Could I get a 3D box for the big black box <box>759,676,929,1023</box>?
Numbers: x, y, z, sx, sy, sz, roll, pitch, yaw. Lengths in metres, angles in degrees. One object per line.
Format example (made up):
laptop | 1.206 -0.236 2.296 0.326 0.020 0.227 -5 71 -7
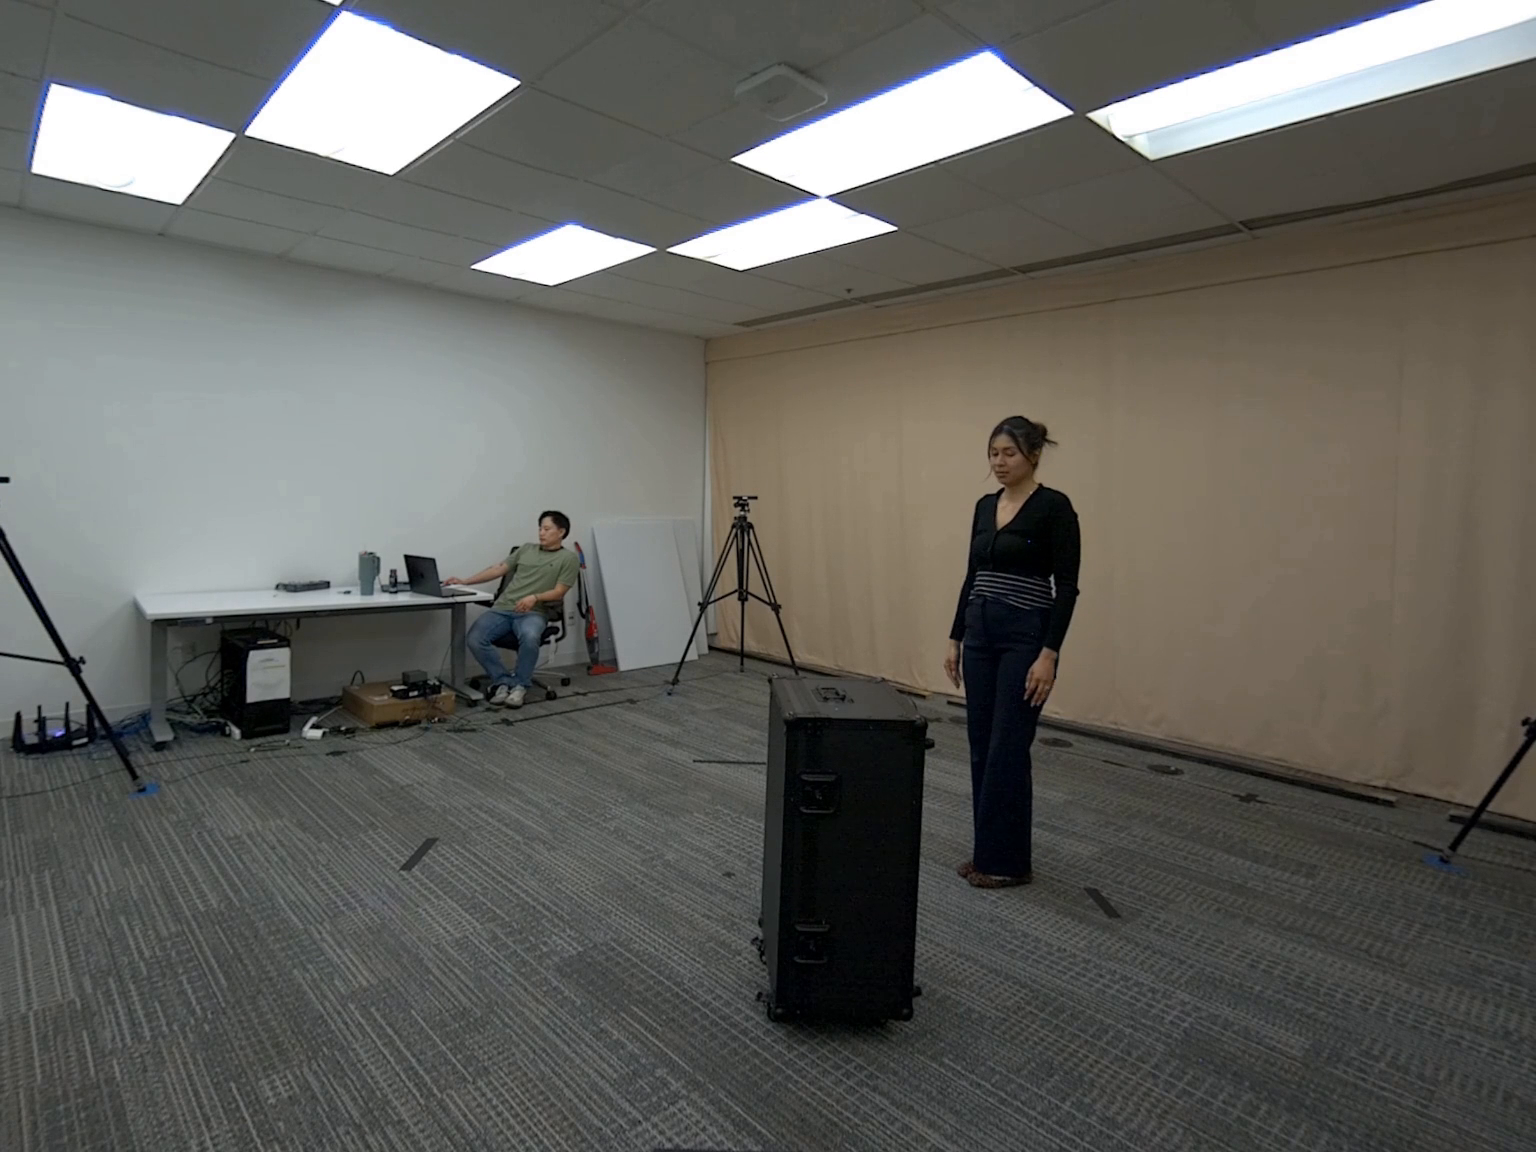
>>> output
big black box | 0.192 0.753 2.359 0.395 0.859 0.524 3 4 -4
